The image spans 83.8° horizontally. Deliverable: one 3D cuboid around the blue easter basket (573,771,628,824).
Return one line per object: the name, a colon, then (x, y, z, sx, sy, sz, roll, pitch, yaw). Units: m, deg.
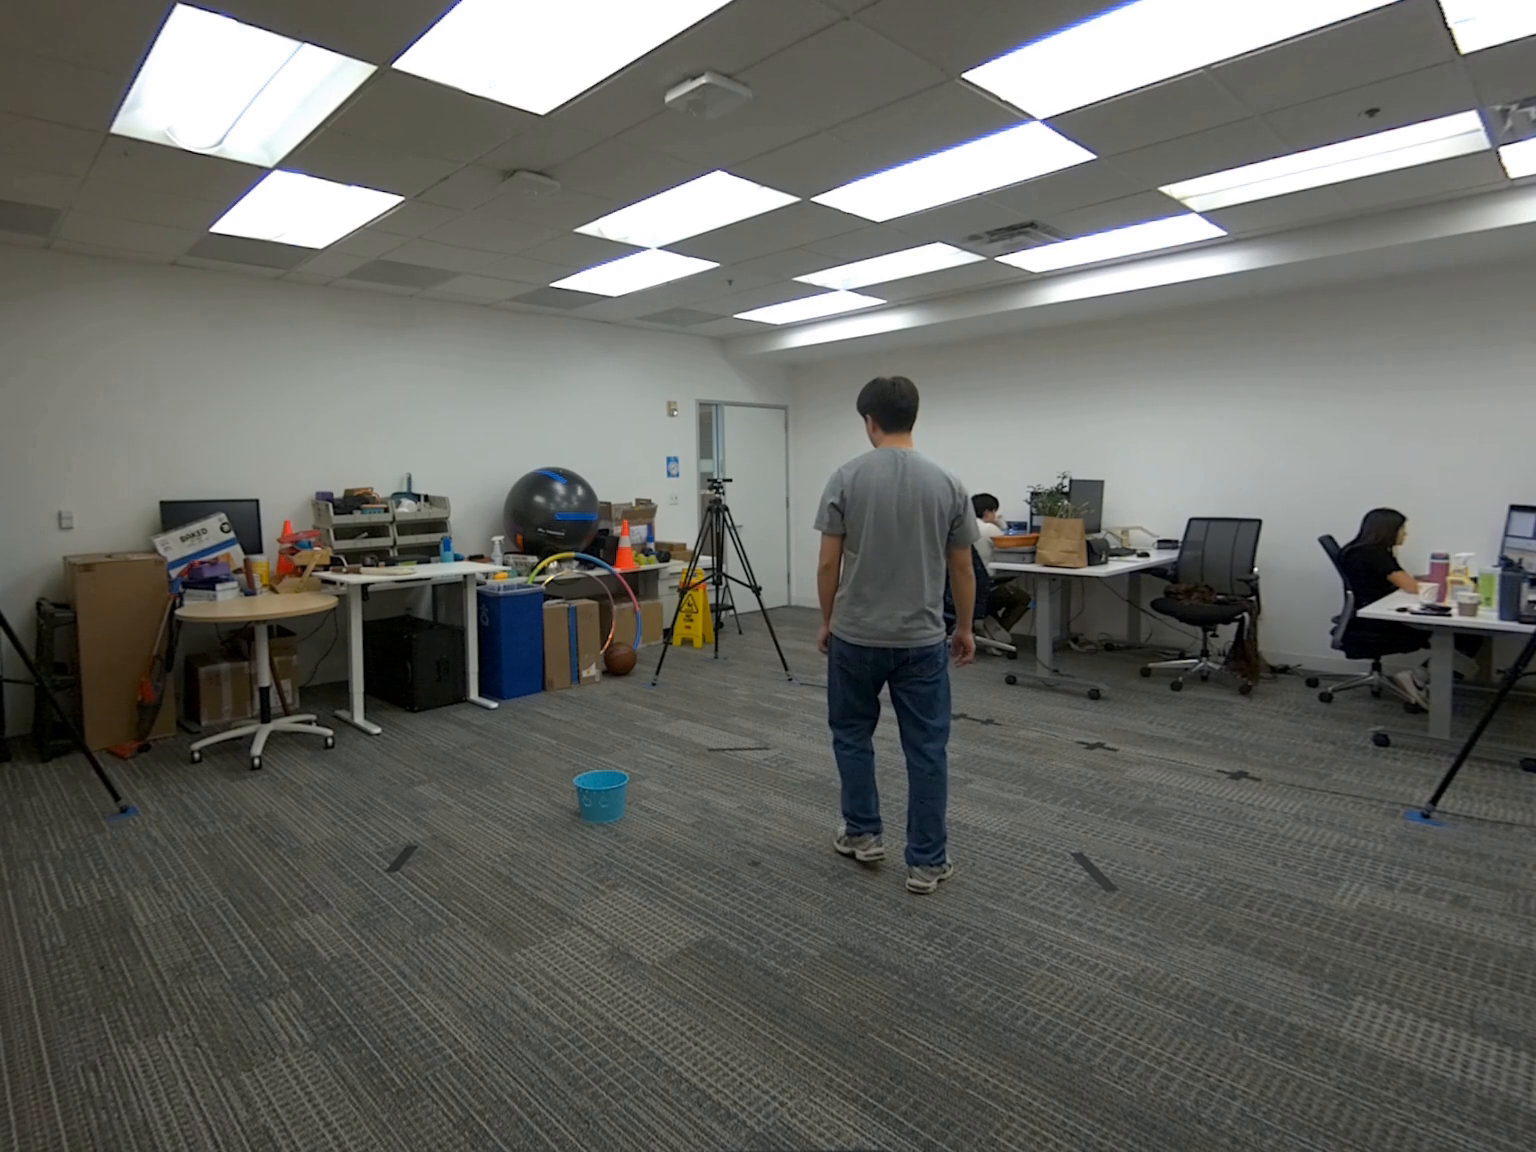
blue easter basket: (-0.694, 0.922, 3.591, 0.243, 0.155, 0.245, -1, 6, -2)
